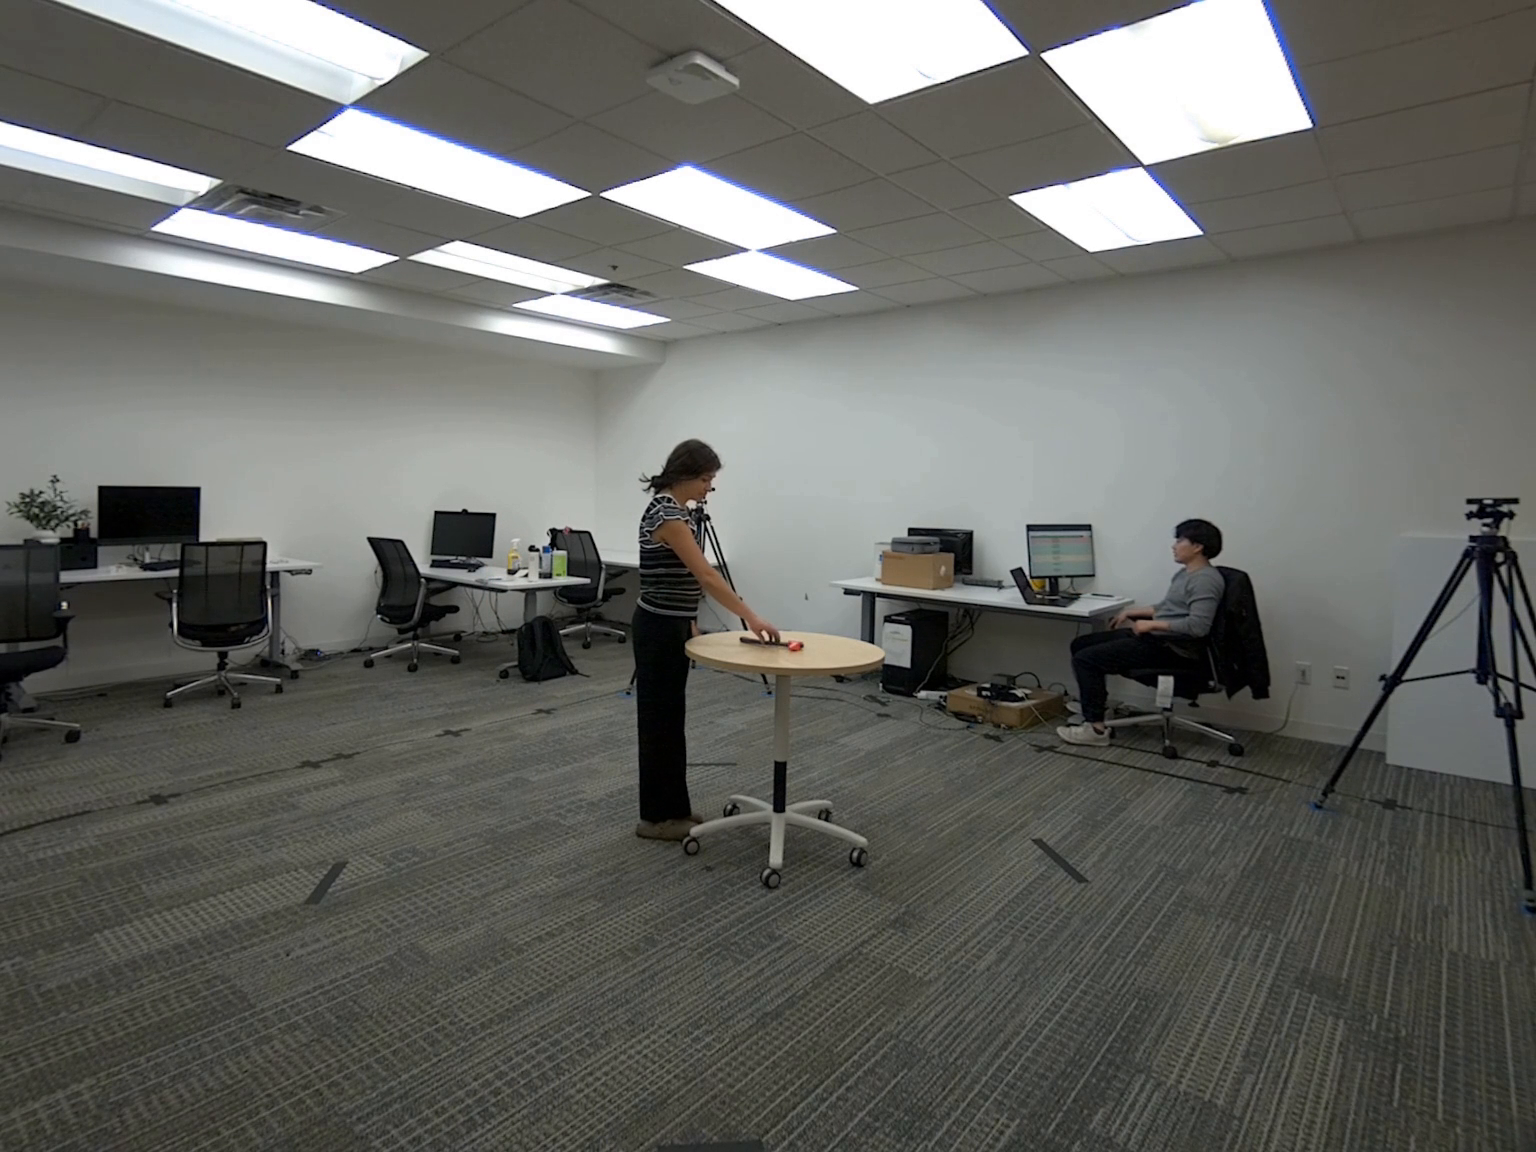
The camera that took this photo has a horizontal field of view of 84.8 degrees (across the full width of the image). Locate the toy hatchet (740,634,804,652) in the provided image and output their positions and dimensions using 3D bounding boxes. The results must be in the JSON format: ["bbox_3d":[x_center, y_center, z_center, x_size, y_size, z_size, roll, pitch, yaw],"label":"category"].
[{"bbox_3d":[0.013,0.255,3.317,0.127,0.029,0.279,-5,8,-45],"label":"toy hatchet"}]
